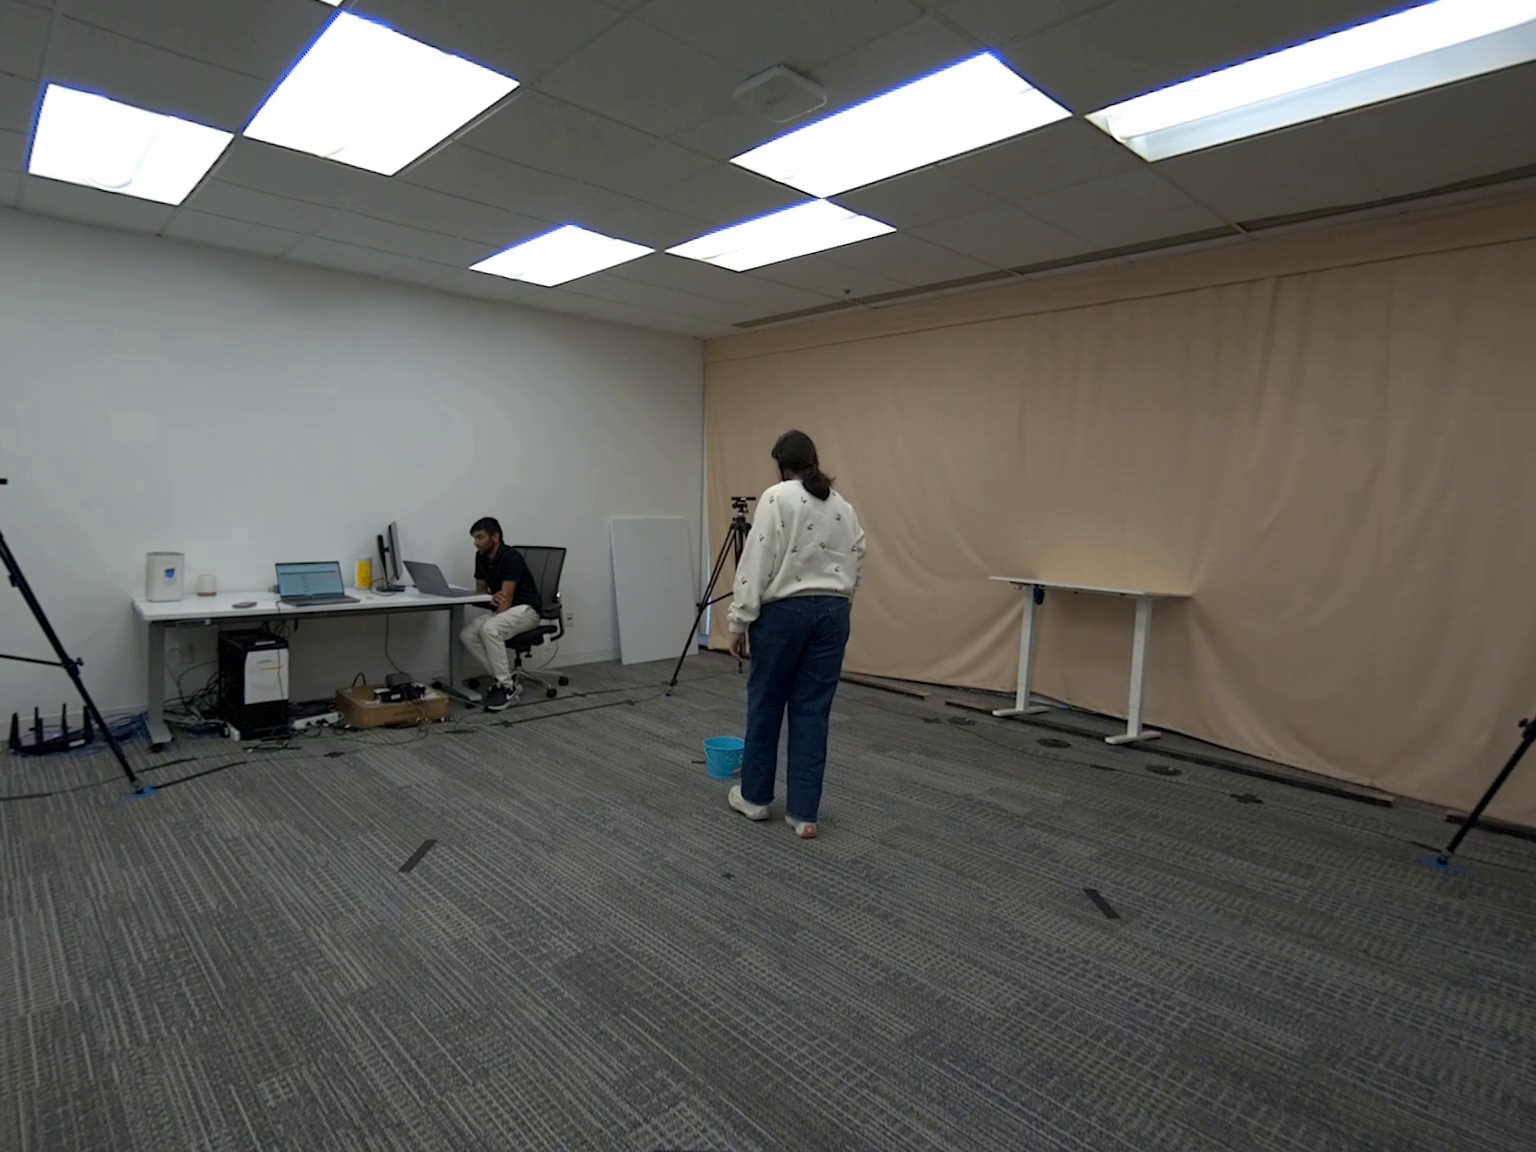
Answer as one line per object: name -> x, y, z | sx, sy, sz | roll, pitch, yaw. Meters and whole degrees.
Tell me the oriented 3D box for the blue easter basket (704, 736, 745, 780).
blue easter basket -> -0.234, 0.924, 4.294 | 0.243, 0.155, 0.244 | 1, 4, -1
